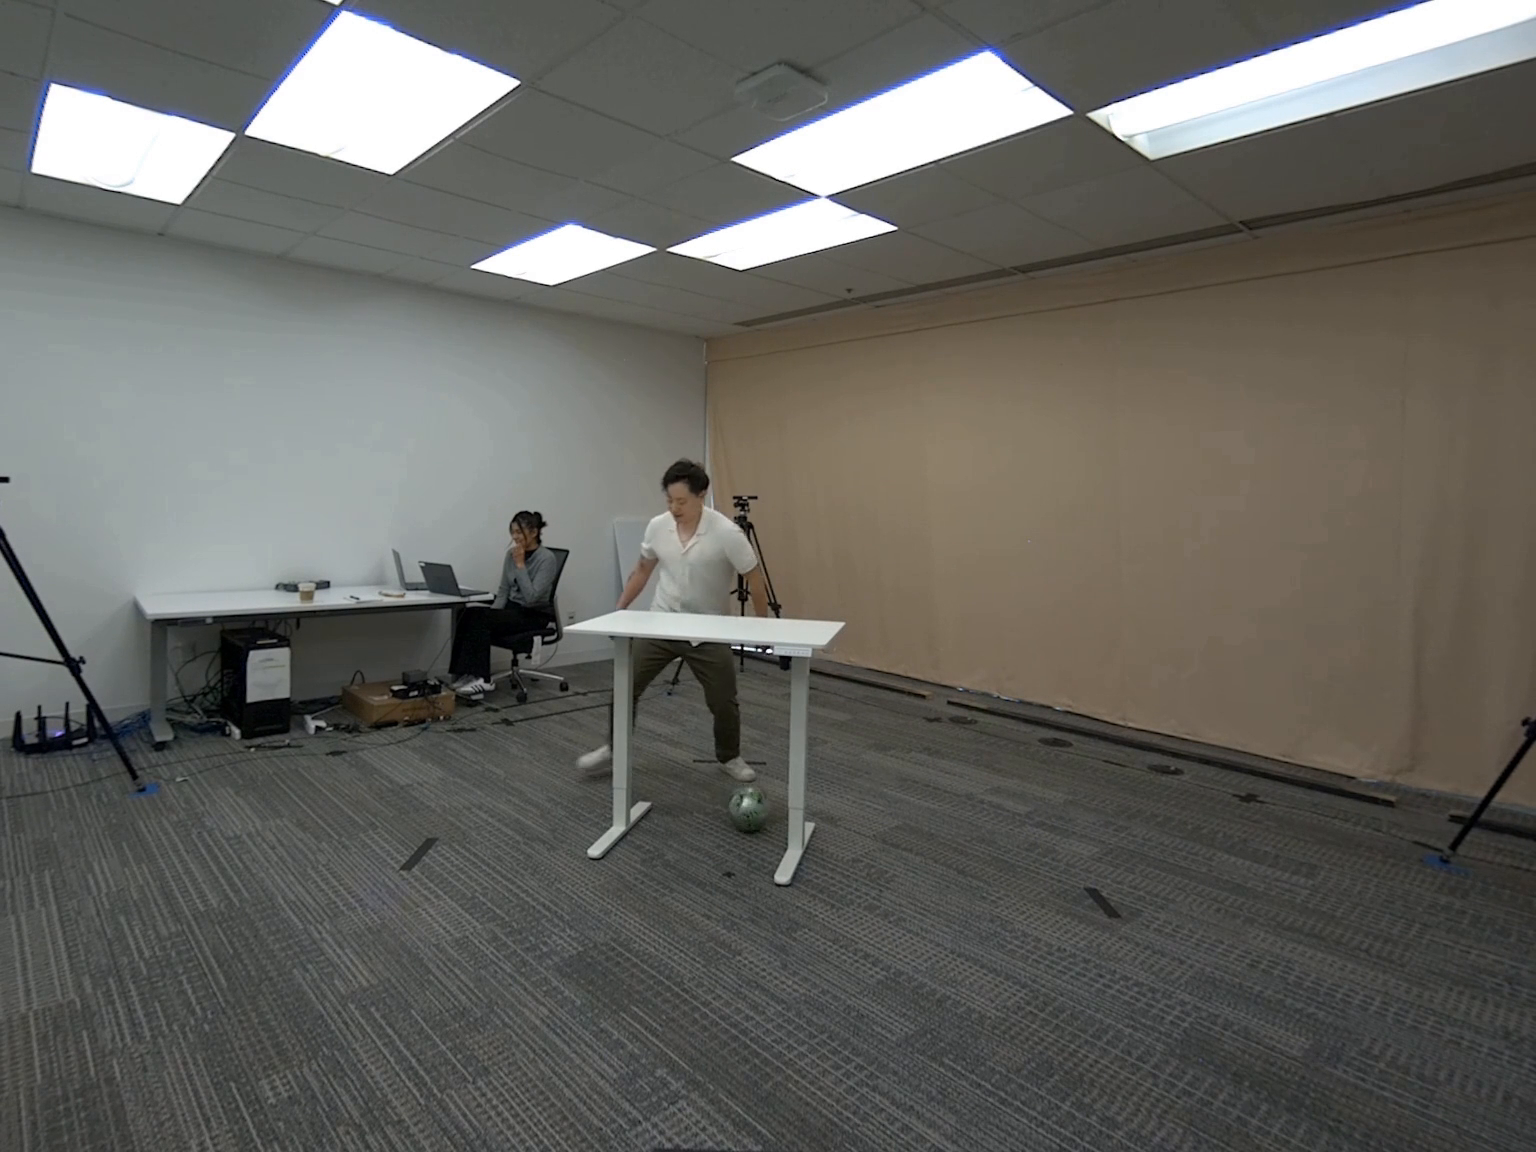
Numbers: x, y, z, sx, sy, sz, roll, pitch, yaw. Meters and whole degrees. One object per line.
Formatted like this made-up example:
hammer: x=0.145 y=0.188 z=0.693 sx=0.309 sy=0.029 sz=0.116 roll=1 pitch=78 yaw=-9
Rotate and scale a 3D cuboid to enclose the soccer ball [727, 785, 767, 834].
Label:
soccer ball: x=-0.097 y=0.973 z=3.532 sx=0.187 sy=0.187 sz=0.188 roll=1 pitch=4 yaw=-1
